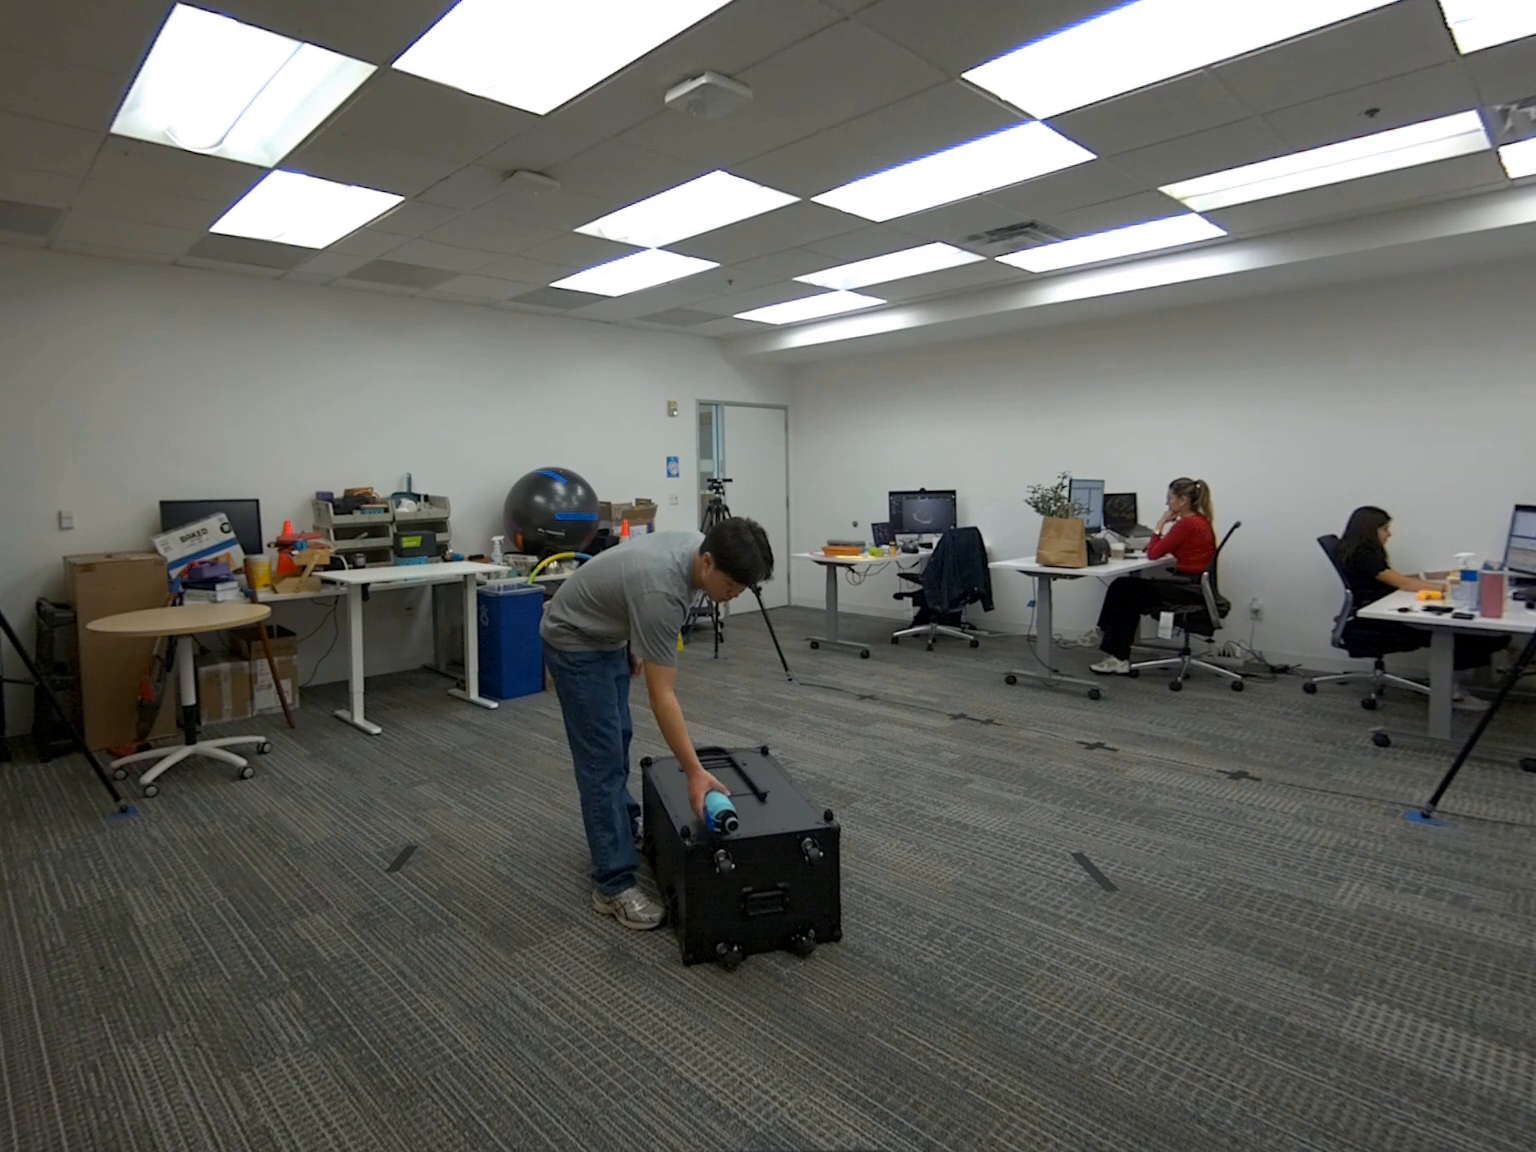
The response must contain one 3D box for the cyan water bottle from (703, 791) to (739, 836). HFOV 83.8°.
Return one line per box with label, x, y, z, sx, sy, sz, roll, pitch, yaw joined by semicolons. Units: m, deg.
cyan water bottle;-0.153;0.683;2.544;0.091;0.091;0.289;-2;10;-16
